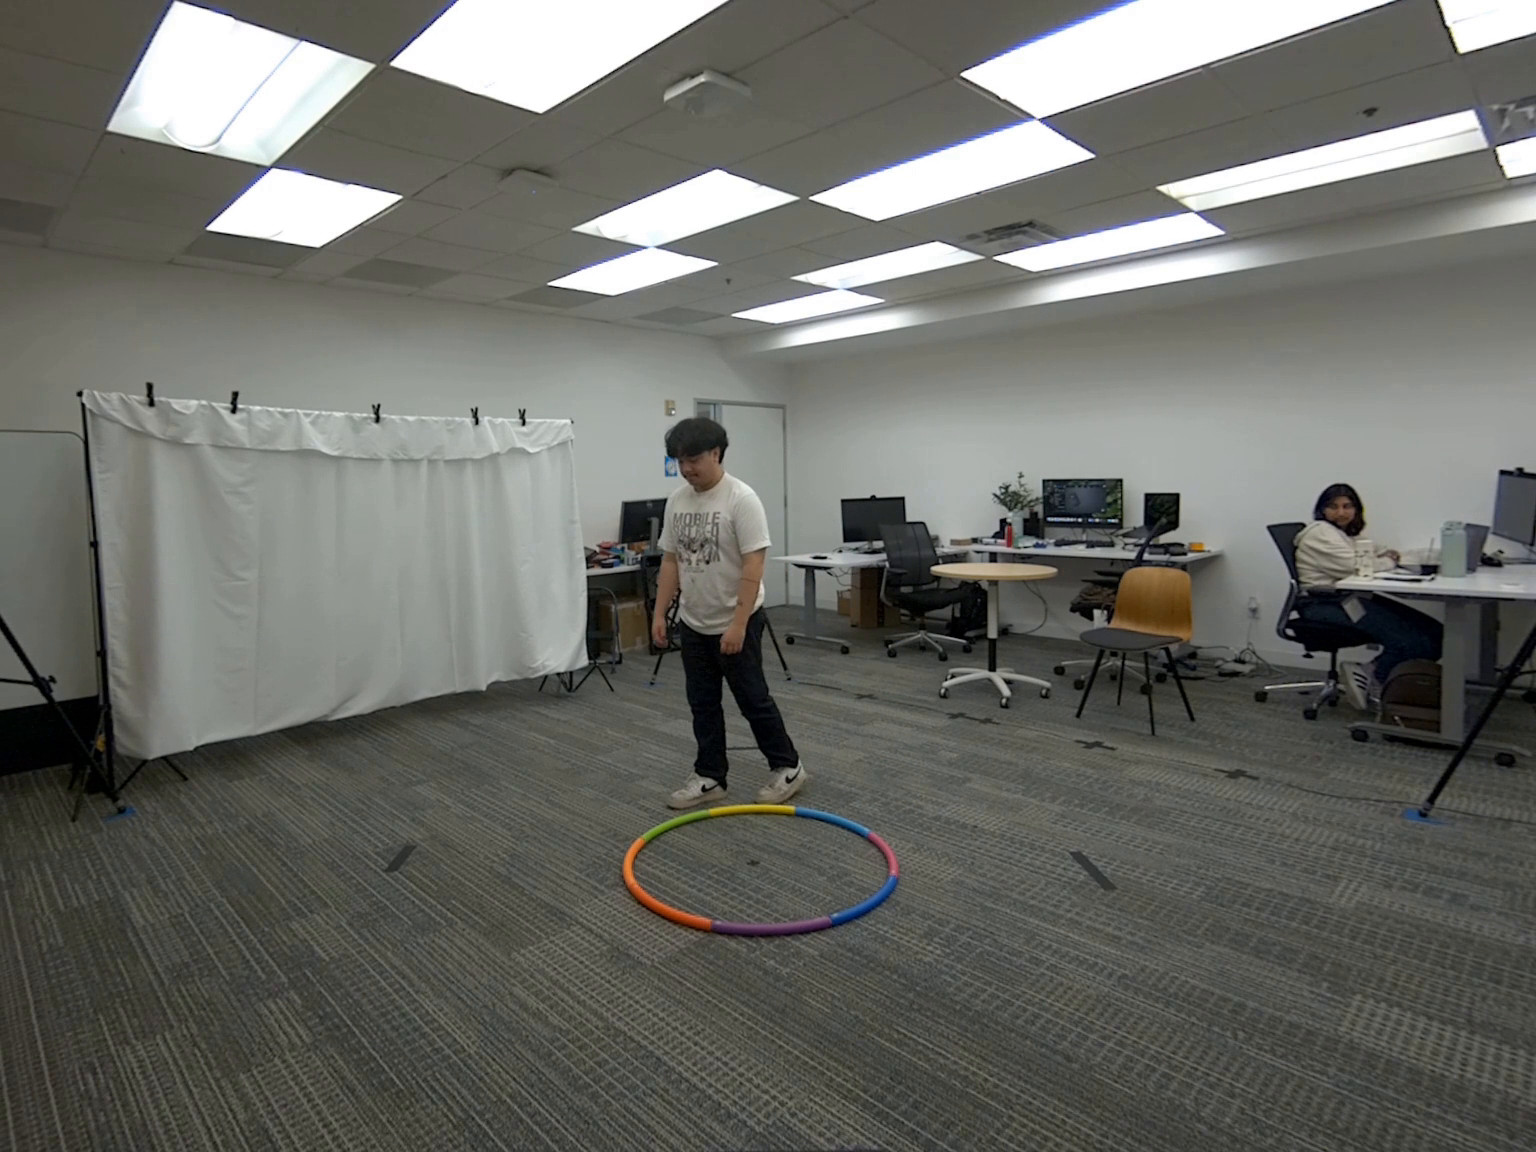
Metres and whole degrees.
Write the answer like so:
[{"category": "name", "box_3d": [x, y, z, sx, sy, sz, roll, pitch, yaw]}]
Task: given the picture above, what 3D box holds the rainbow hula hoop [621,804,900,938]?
[{"category": "rainbow hula hoop", "box_3d": [-0.026, 1.020, 3.093, 0.985, 0.051, 0.991, -1, 7, -2]}]
